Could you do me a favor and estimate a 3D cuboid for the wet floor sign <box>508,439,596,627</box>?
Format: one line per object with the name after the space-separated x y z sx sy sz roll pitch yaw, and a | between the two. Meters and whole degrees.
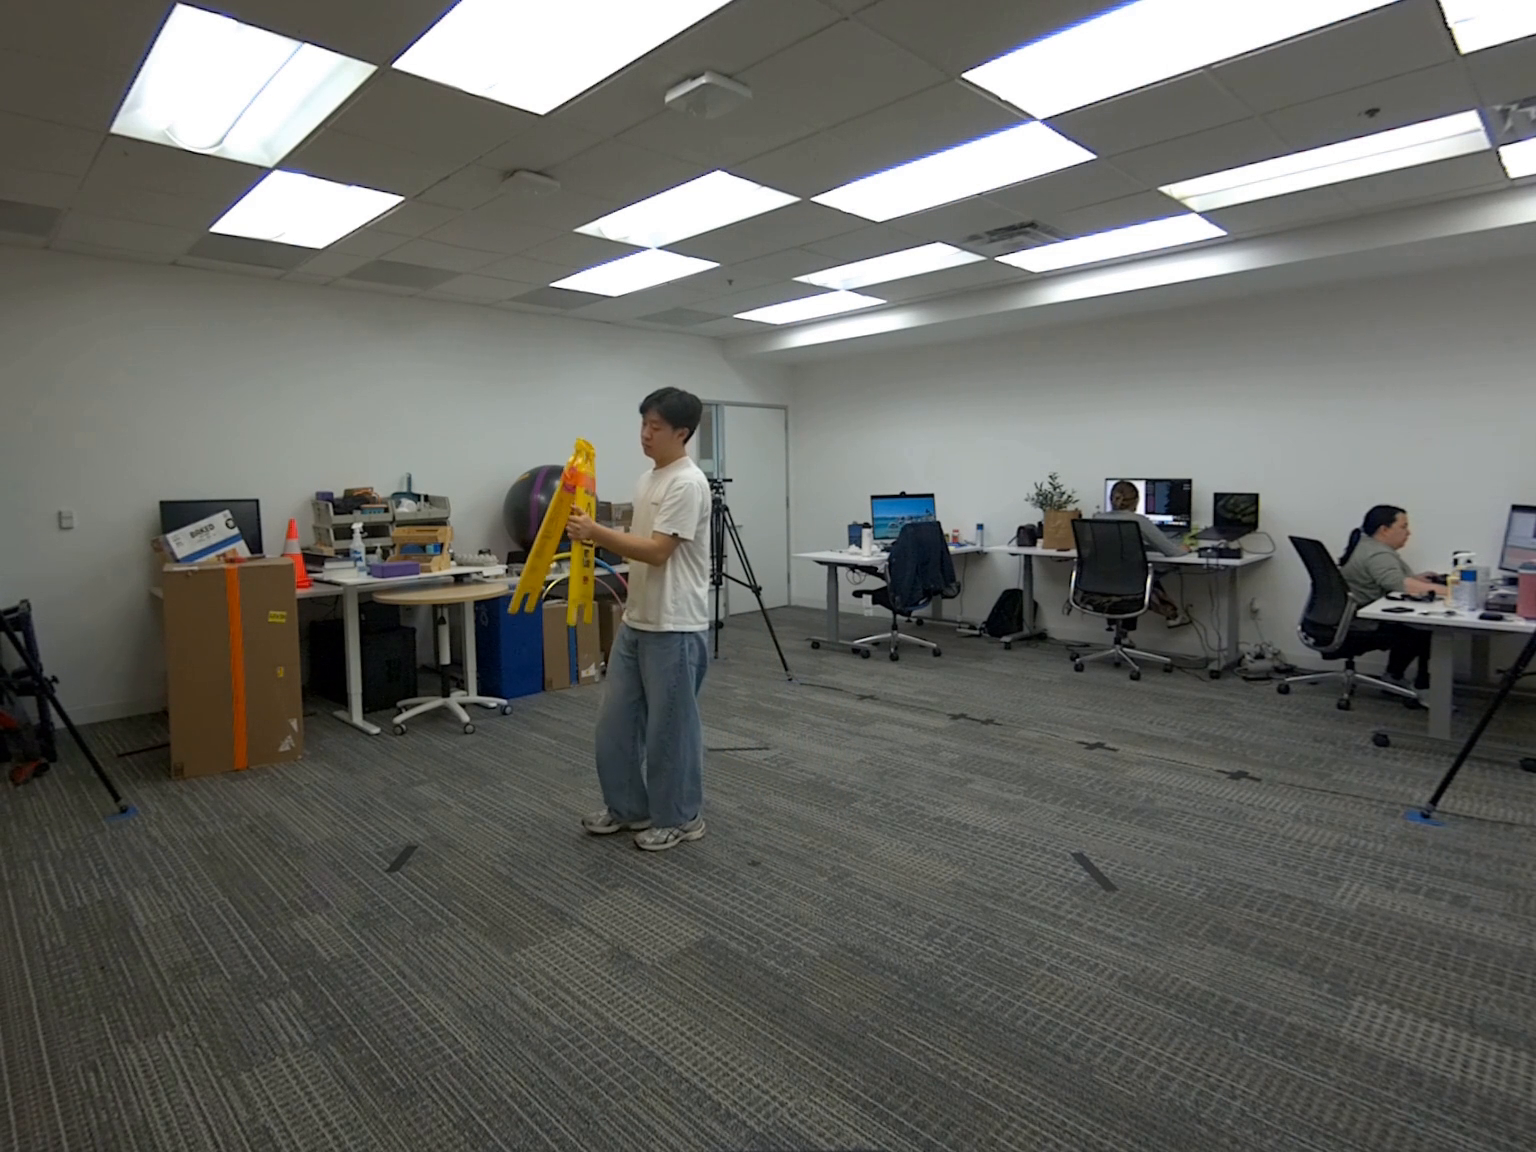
-0.721 -0.162 3.082 0.292 0.648 0.280 9 -4 5 | wet floor sign
